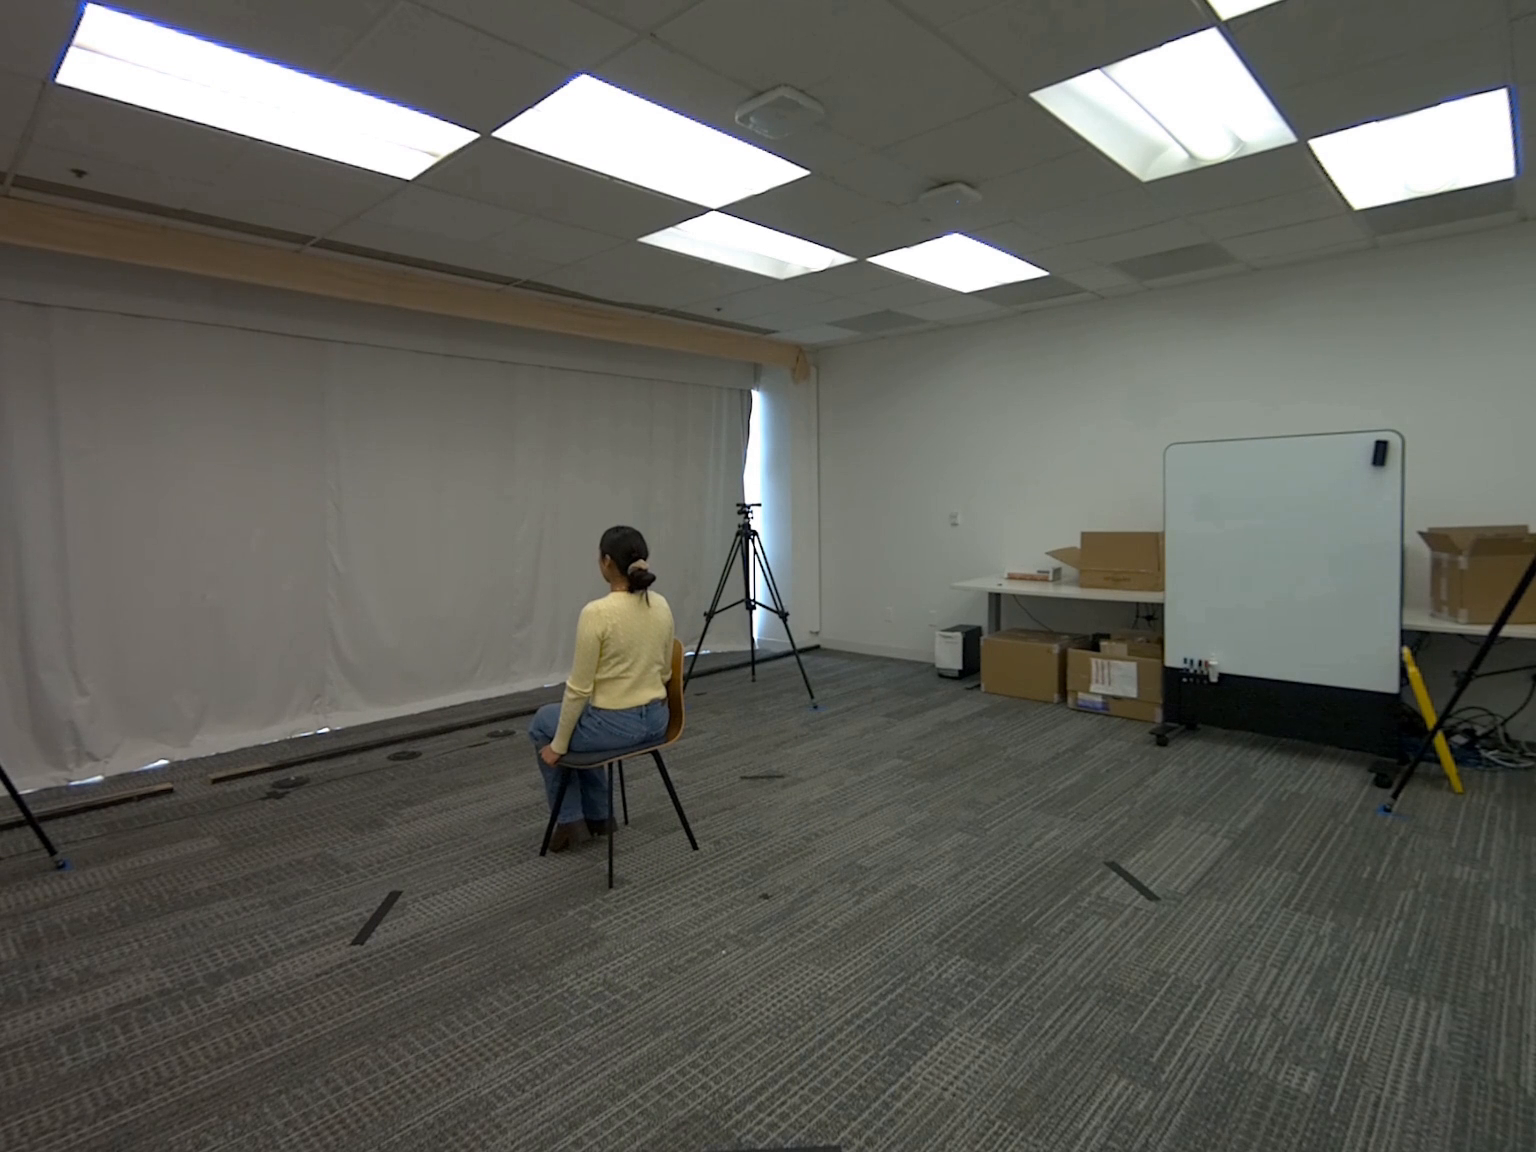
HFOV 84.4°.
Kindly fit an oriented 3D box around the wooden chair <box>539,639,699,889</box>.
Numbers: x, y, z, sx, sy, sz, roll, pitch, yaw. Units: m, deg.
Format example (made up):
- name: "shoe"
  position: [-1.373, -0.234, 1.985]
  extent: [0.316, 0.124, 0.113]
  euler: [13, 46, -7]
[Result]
- name: "wooden chair"
  position: [-0.605, 0.694, 3.352]
  extent: [0.494, 0.877, 0.506]
  euler: [1, 0, 42]
